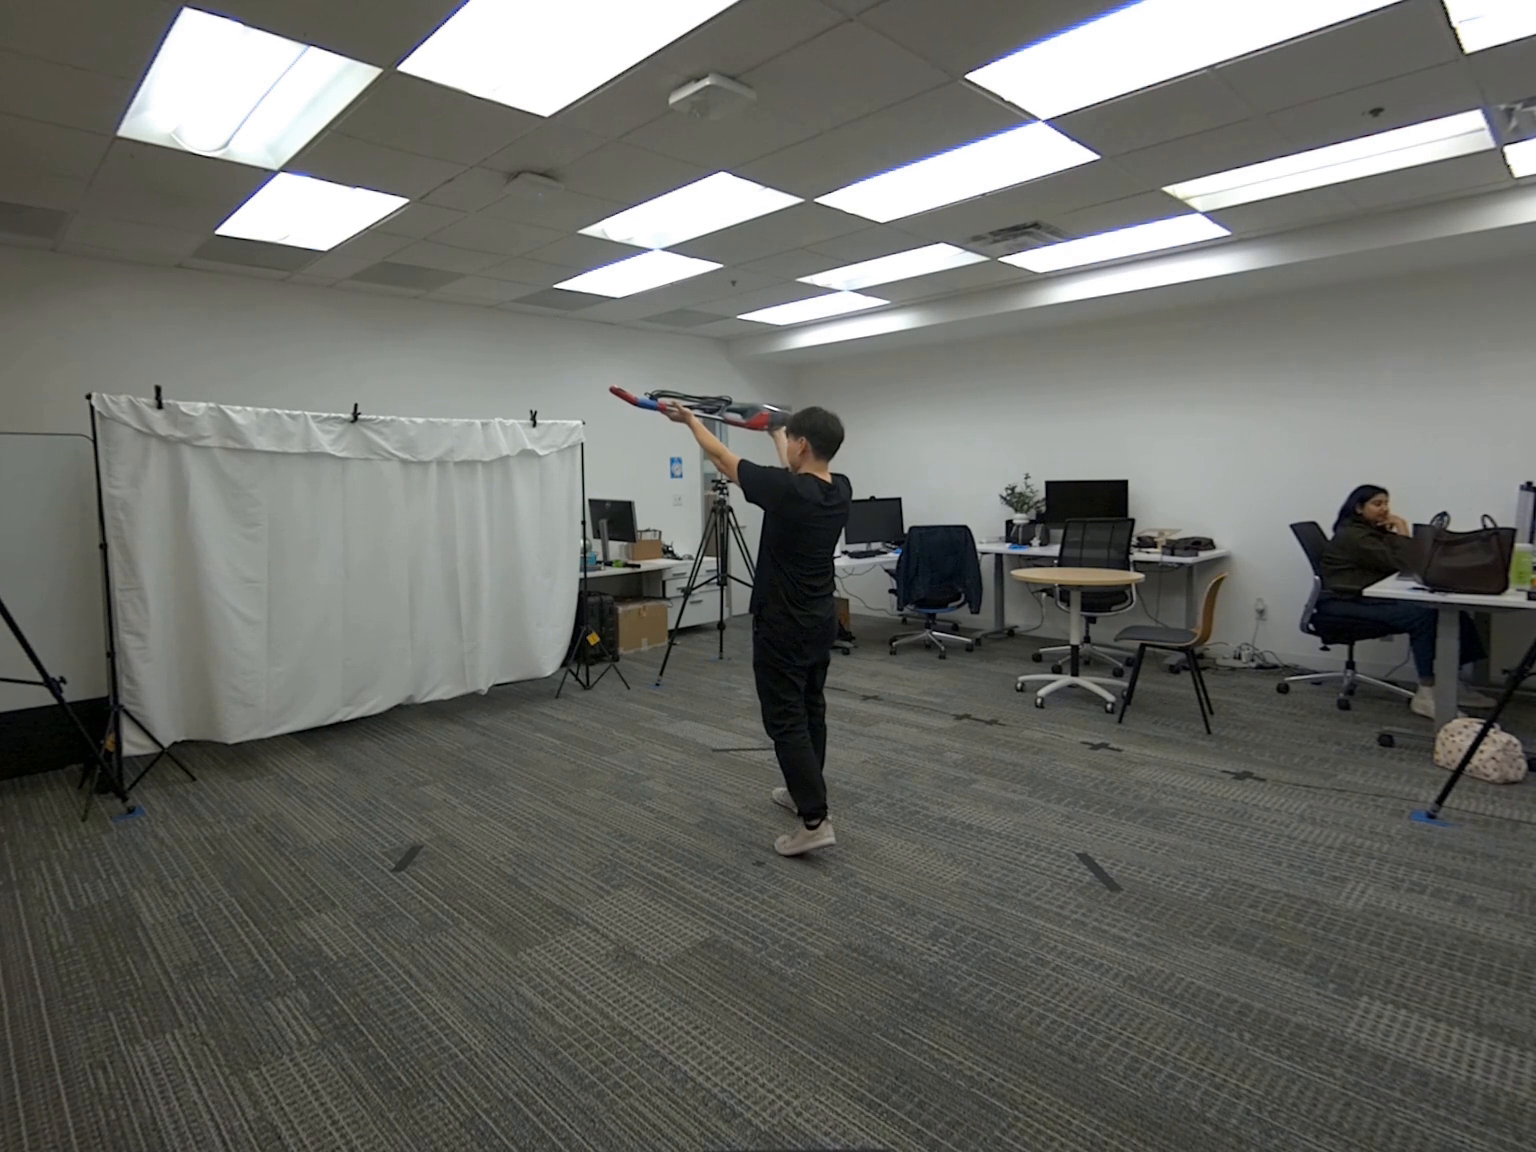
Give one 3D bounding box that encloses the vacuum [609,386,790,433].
[{"bbox_3d":[-0.199,-0.690,3.570,1.017,0.147,0.255,4,-26,-41],"label":"vacuum"}]
